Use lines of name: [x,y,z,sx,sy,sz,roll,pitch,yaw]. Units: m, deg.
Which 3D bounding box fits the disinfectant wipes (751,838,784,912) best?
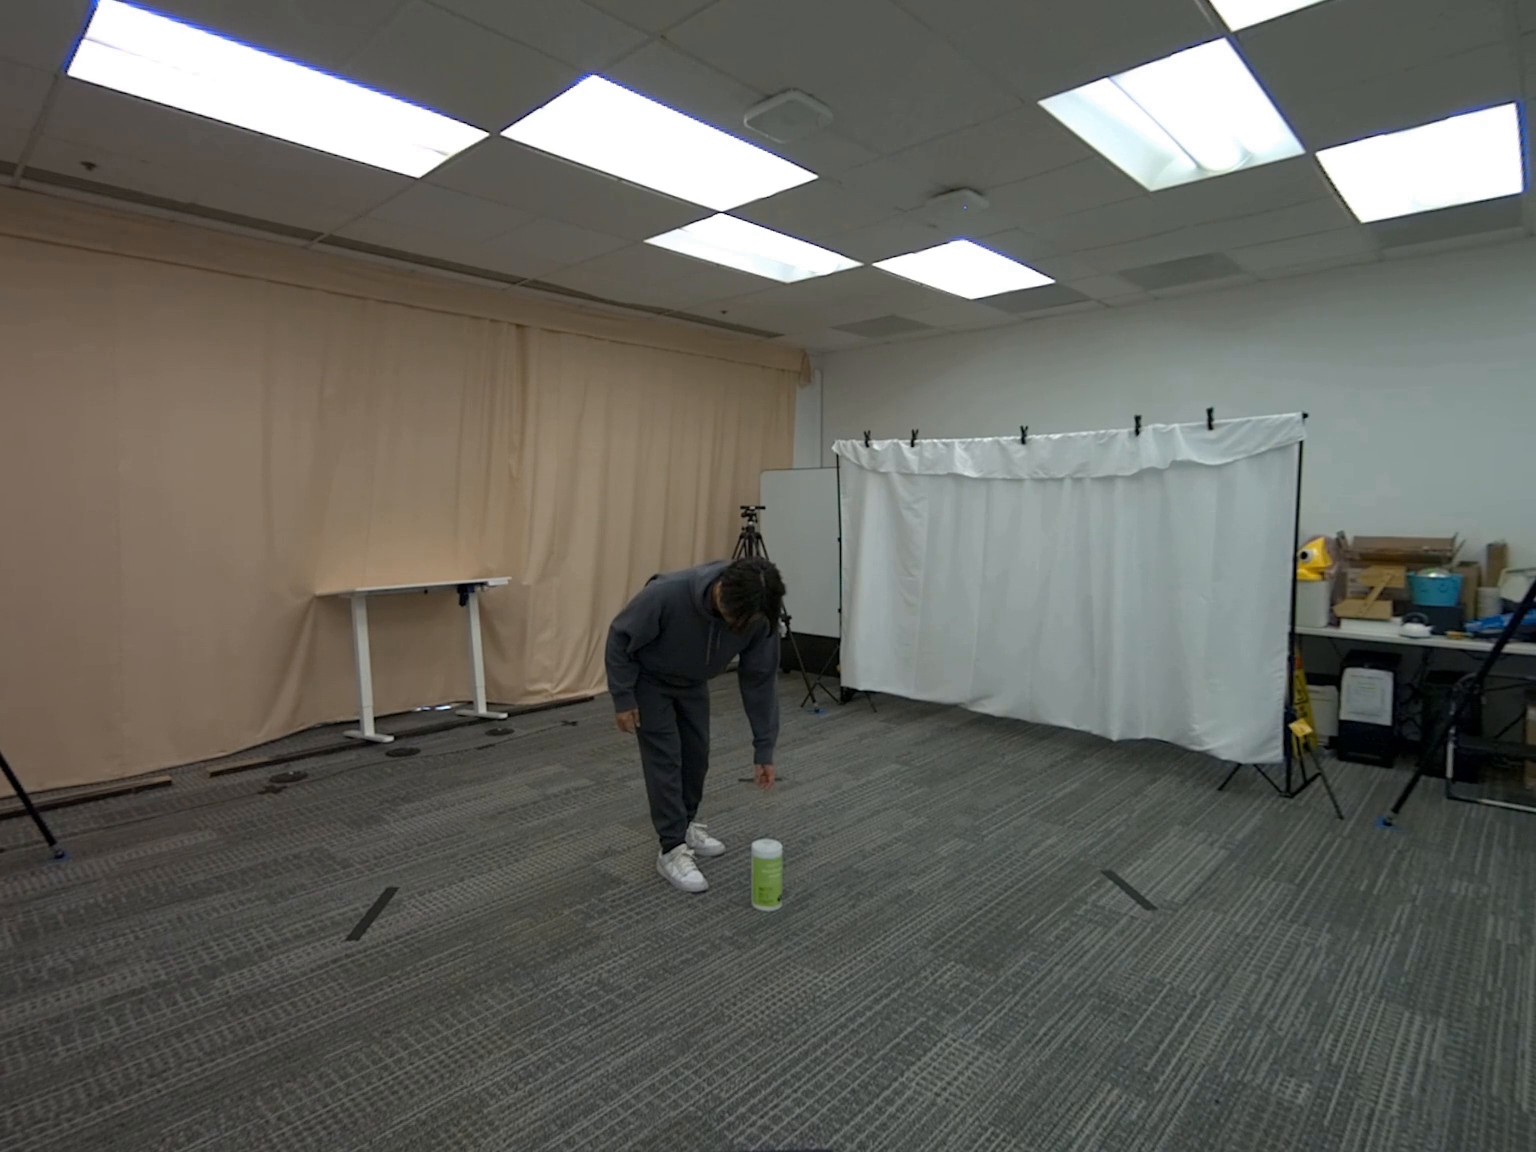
disinfectant wipes: [-0.005,1.040,2.935,0.118,0.217,0.118,0,4,-2]
